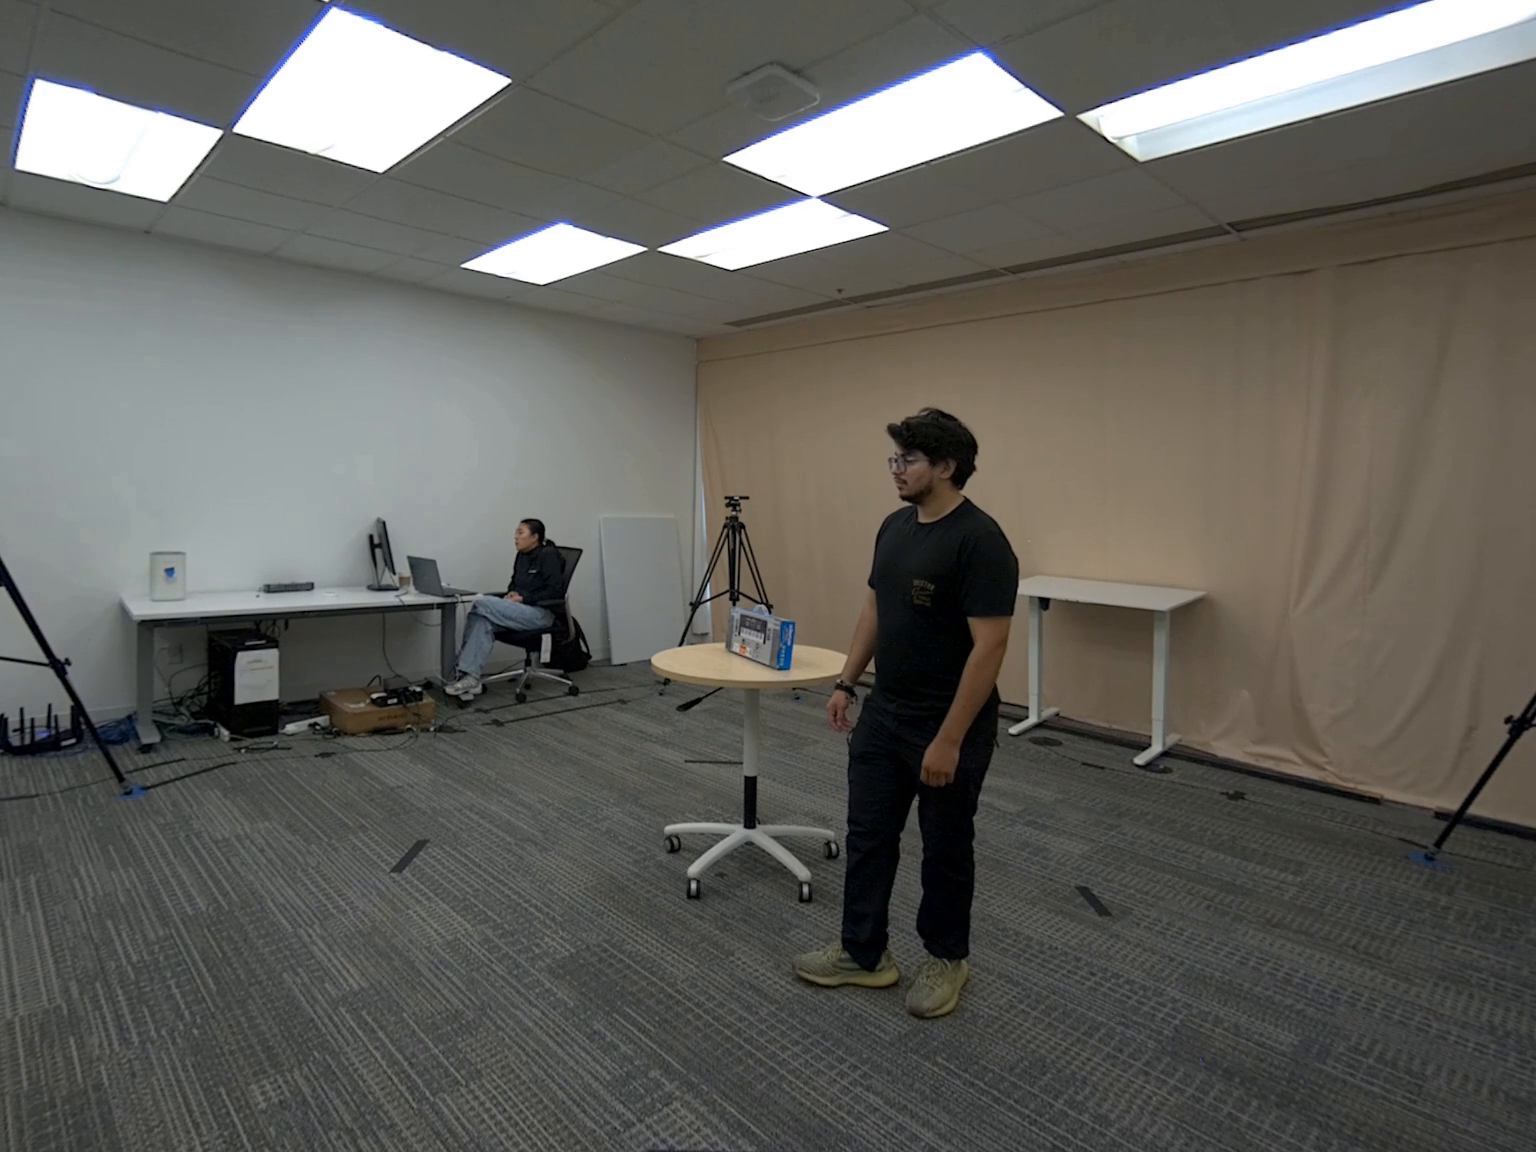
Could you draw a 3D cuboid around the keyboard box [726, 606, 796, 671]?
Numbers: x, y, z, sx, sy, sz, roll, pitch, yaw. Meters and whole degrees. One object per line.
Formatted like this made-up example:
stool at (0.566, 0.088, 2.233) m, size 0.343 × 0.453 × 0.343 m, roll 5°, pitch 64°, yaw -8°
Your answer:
keyboard box at (-0.041, 0.230, 3.170) m, size 0.058 × 0.176 × 0.446 m, roll 5°, pitch 2°, yaw -26°
